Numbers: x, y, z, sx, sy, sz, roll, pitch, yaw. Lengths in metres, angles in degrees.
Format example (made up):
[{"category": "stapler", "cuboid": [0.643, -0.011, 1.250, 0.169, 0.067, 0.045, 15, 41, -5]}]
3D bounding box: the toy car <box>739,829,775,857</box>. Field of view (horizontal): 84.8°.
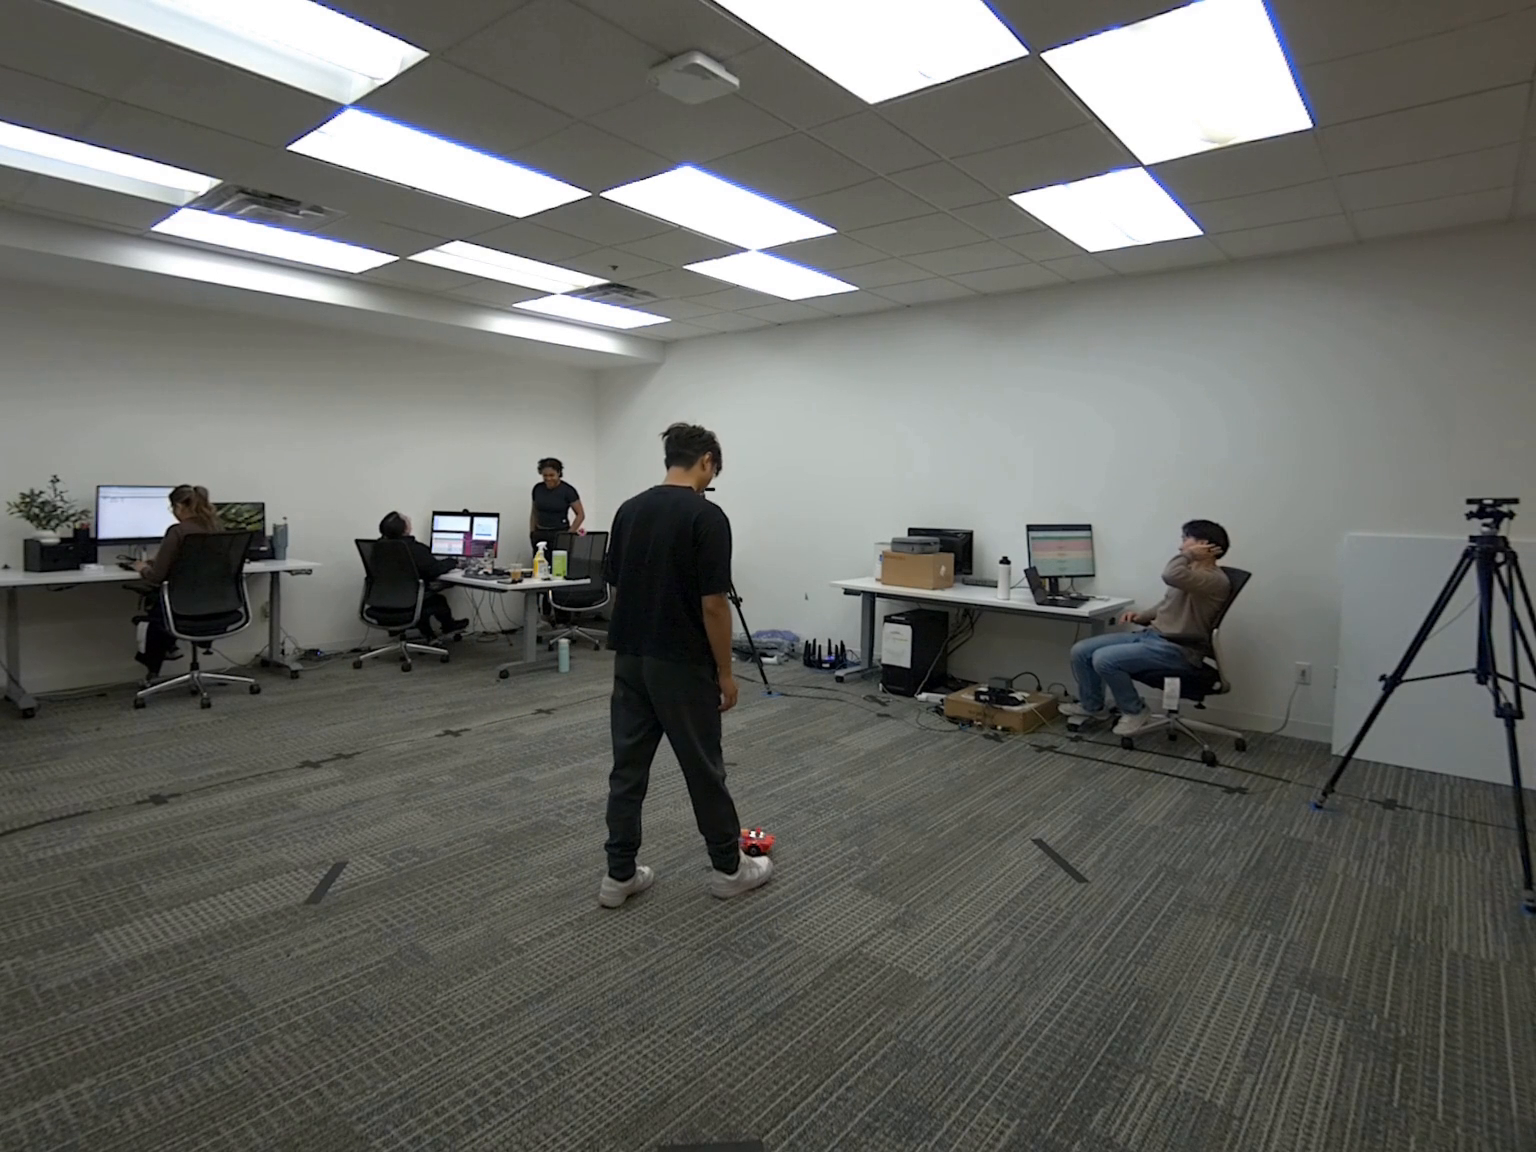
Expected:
[{"category": "toy car", "cuboid": [-0.108, 1.022, 3.271, 0.257, 0.083, 0.129, -9, 3, 9]}]
